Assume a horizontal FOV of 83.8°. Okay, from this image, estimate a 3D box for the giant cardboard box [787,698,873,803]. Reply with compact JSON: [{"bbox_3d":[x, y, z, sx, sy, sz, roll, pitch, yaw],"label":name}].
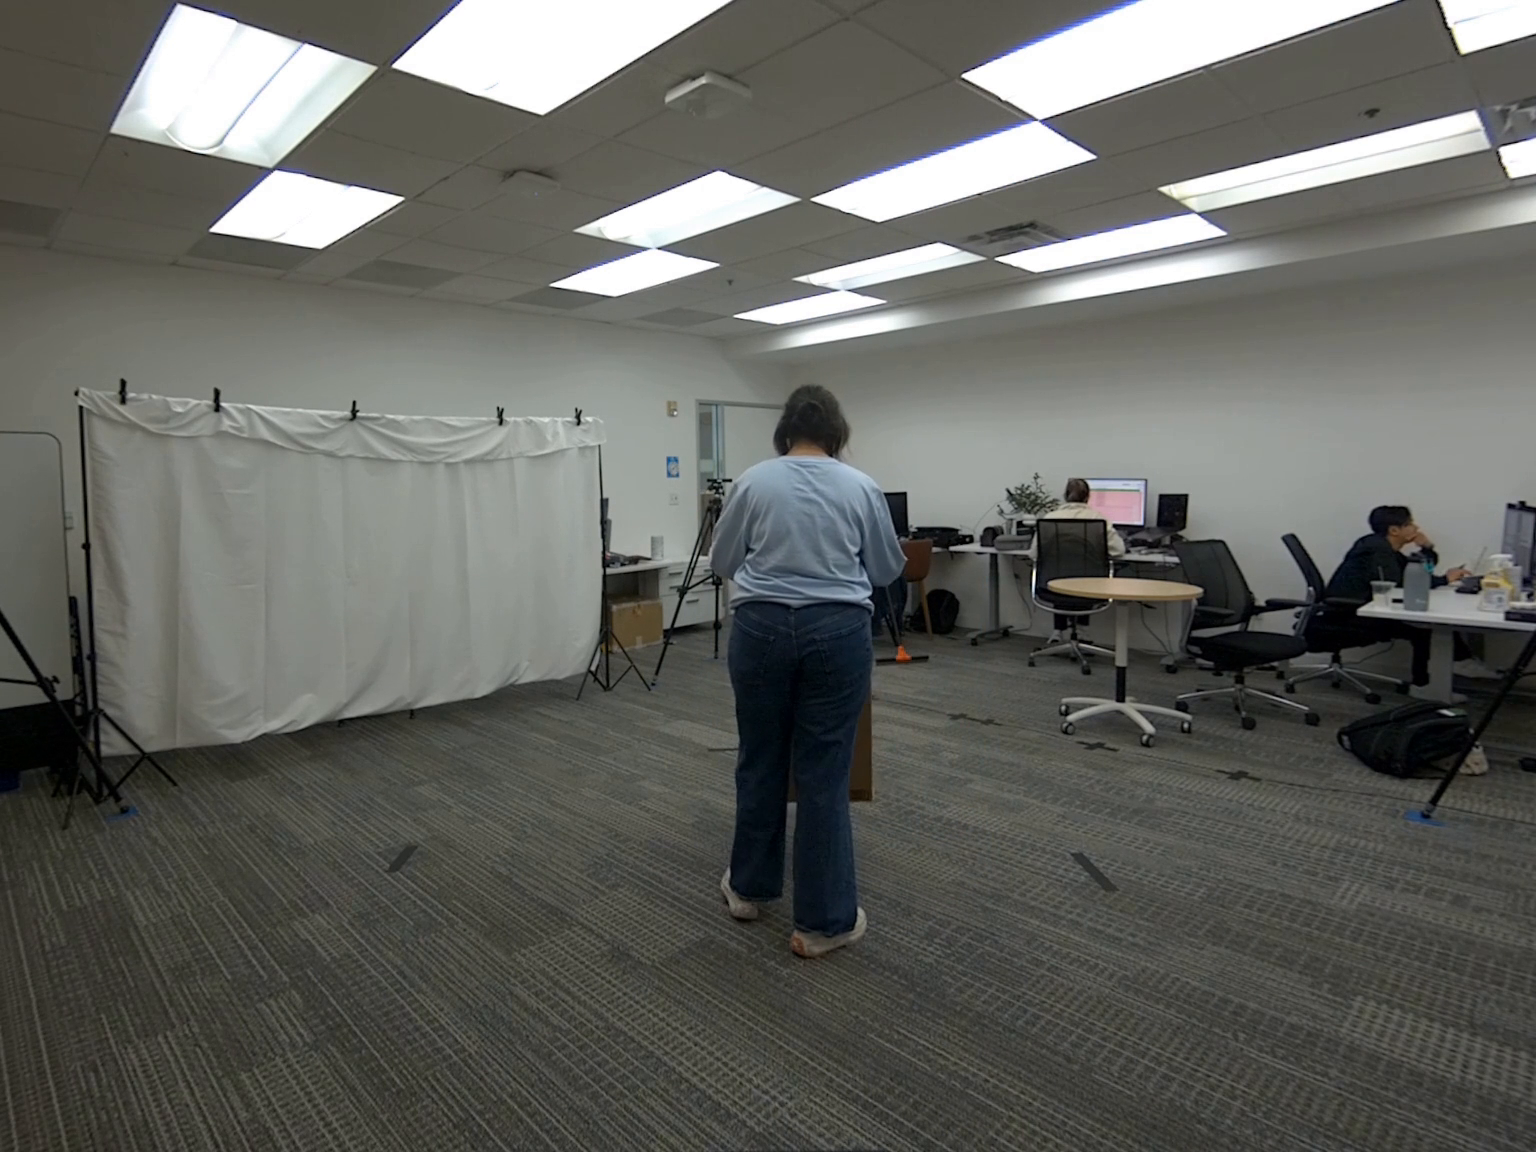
[{"bbox_3d":[0.137,0.215,3.104,0.449,1.013,0.589,-2,15,5],"label":"giant cardboard box"}]
